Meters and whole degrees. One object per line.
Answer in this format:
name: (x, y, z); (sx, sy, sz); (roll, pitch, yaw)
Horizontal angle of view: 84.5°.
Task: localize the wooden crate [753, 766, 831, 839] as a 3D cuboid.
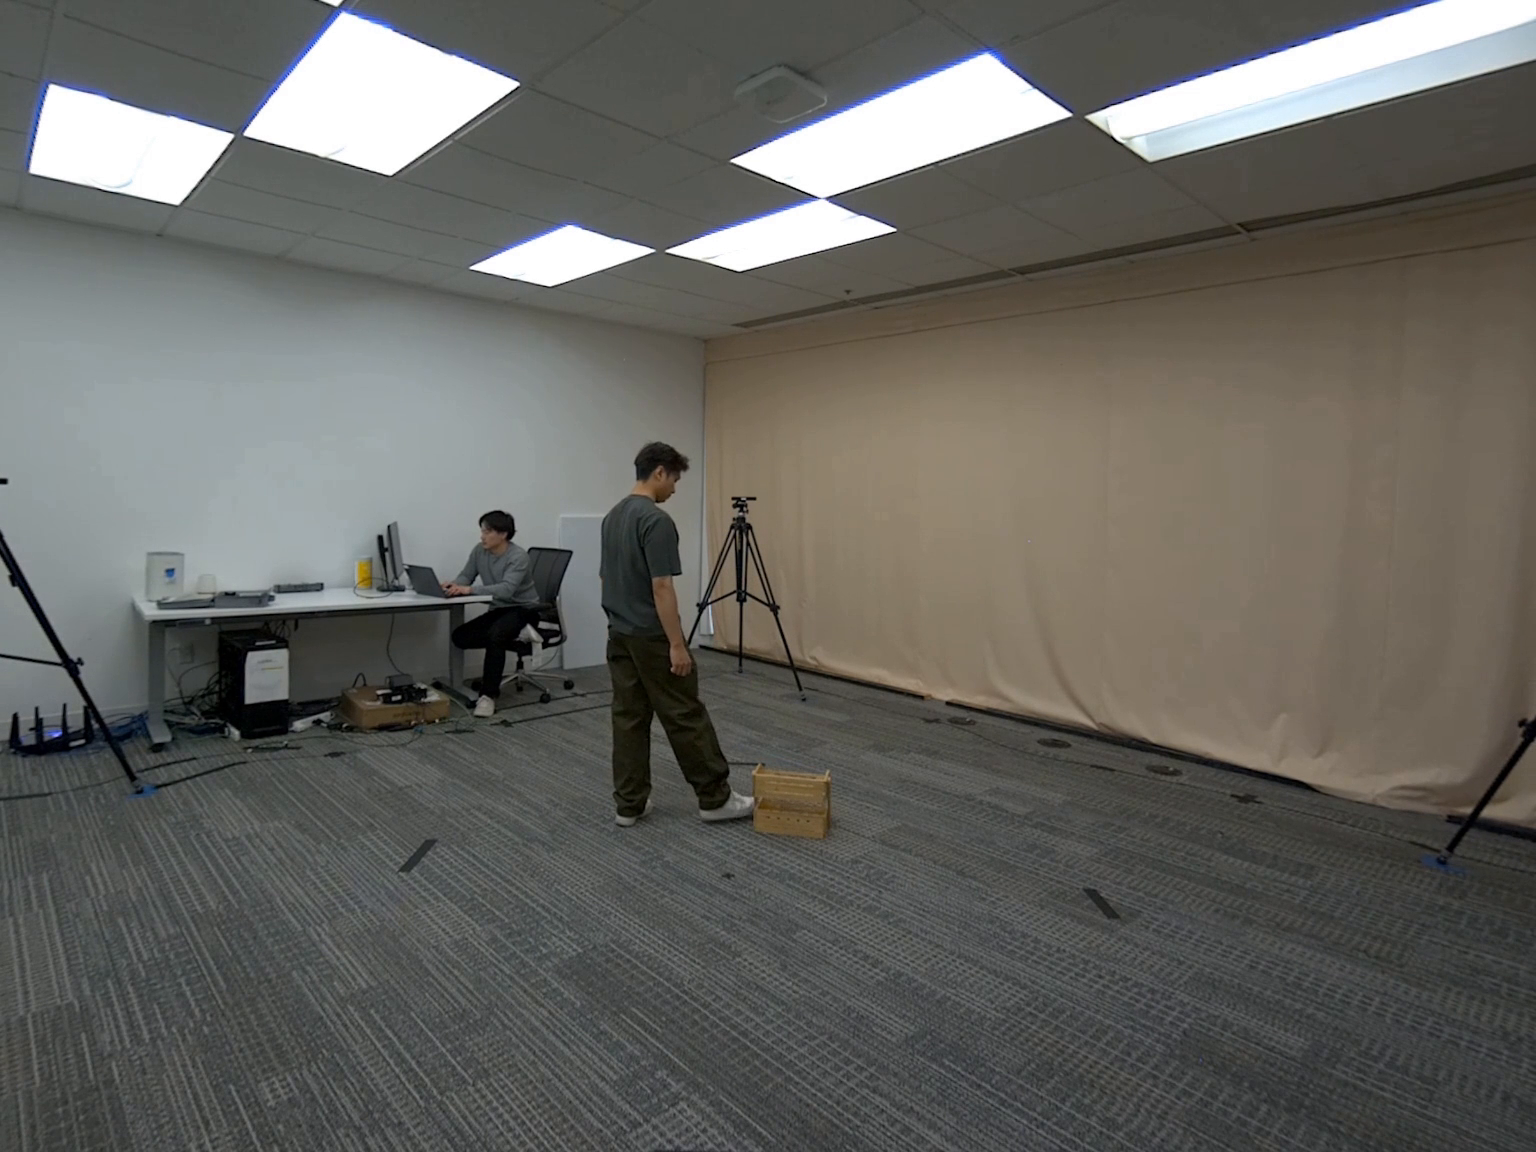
wooden crate: (0.101, 0.937, 3.597); (0.328, 0.272, 0.300); (3, 4, 11)
